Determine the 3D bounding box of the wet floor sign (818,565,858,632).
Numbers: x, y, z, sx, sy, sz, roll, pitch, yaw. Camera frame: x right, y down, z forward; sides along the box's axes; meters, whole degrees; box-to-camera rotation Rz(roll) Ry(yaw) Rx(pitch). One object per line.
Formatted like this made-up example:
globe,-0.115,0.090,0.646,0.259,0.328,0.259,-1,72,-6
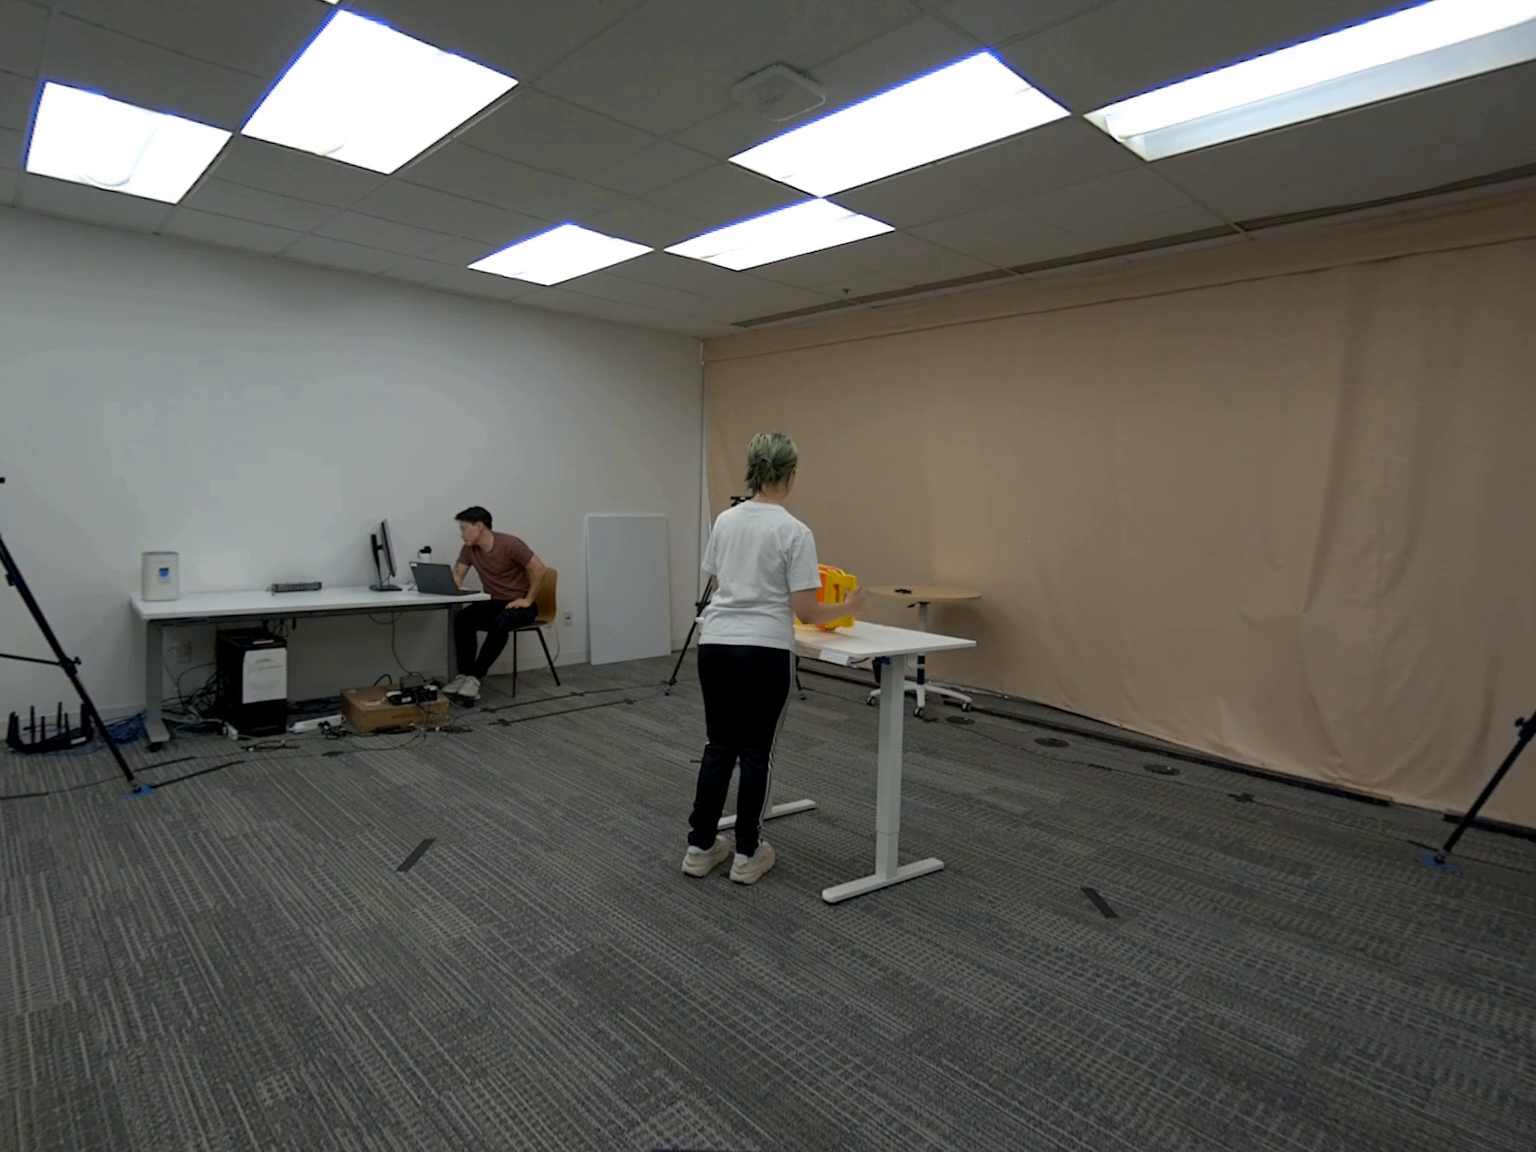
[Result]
wet floor sign,0.118,0.068,3.415,0.283,0.281,0.663,-1,6,-37
